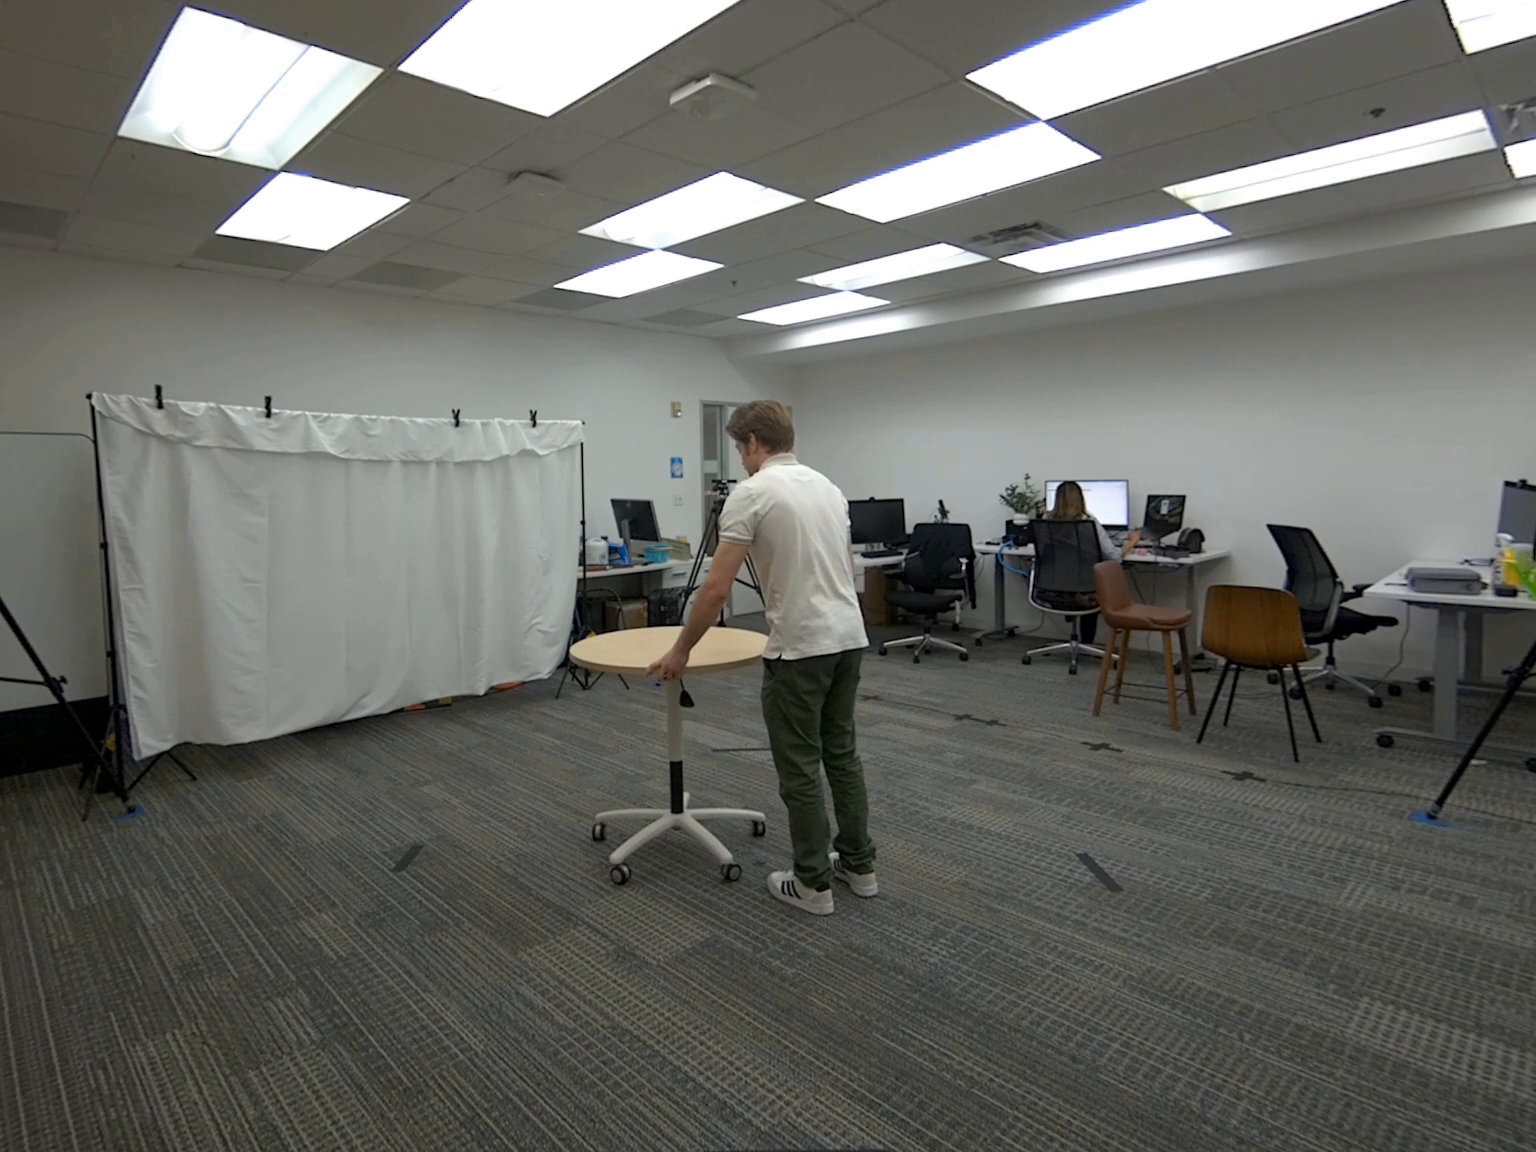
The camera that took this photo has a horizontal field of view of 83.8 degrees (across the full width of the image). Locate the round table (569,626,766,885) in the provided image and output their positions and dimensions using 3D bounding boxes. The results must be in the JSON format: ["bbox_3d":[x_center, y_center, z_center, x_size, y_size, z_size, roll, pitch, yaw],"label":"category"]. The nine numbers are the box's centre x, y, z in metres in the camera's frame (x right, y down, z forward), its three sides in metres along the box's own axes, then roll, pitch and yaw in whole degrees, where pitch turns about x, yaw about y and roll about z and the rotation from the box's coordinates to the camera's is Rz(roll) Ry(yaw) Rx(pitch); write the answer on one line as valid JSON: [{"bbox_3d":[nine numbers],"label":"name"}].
[{"bbox_3d":[-0.347,0.647,3.238,0.763,0.791,0.768,-1,5,-2],"label":"round table"}]
